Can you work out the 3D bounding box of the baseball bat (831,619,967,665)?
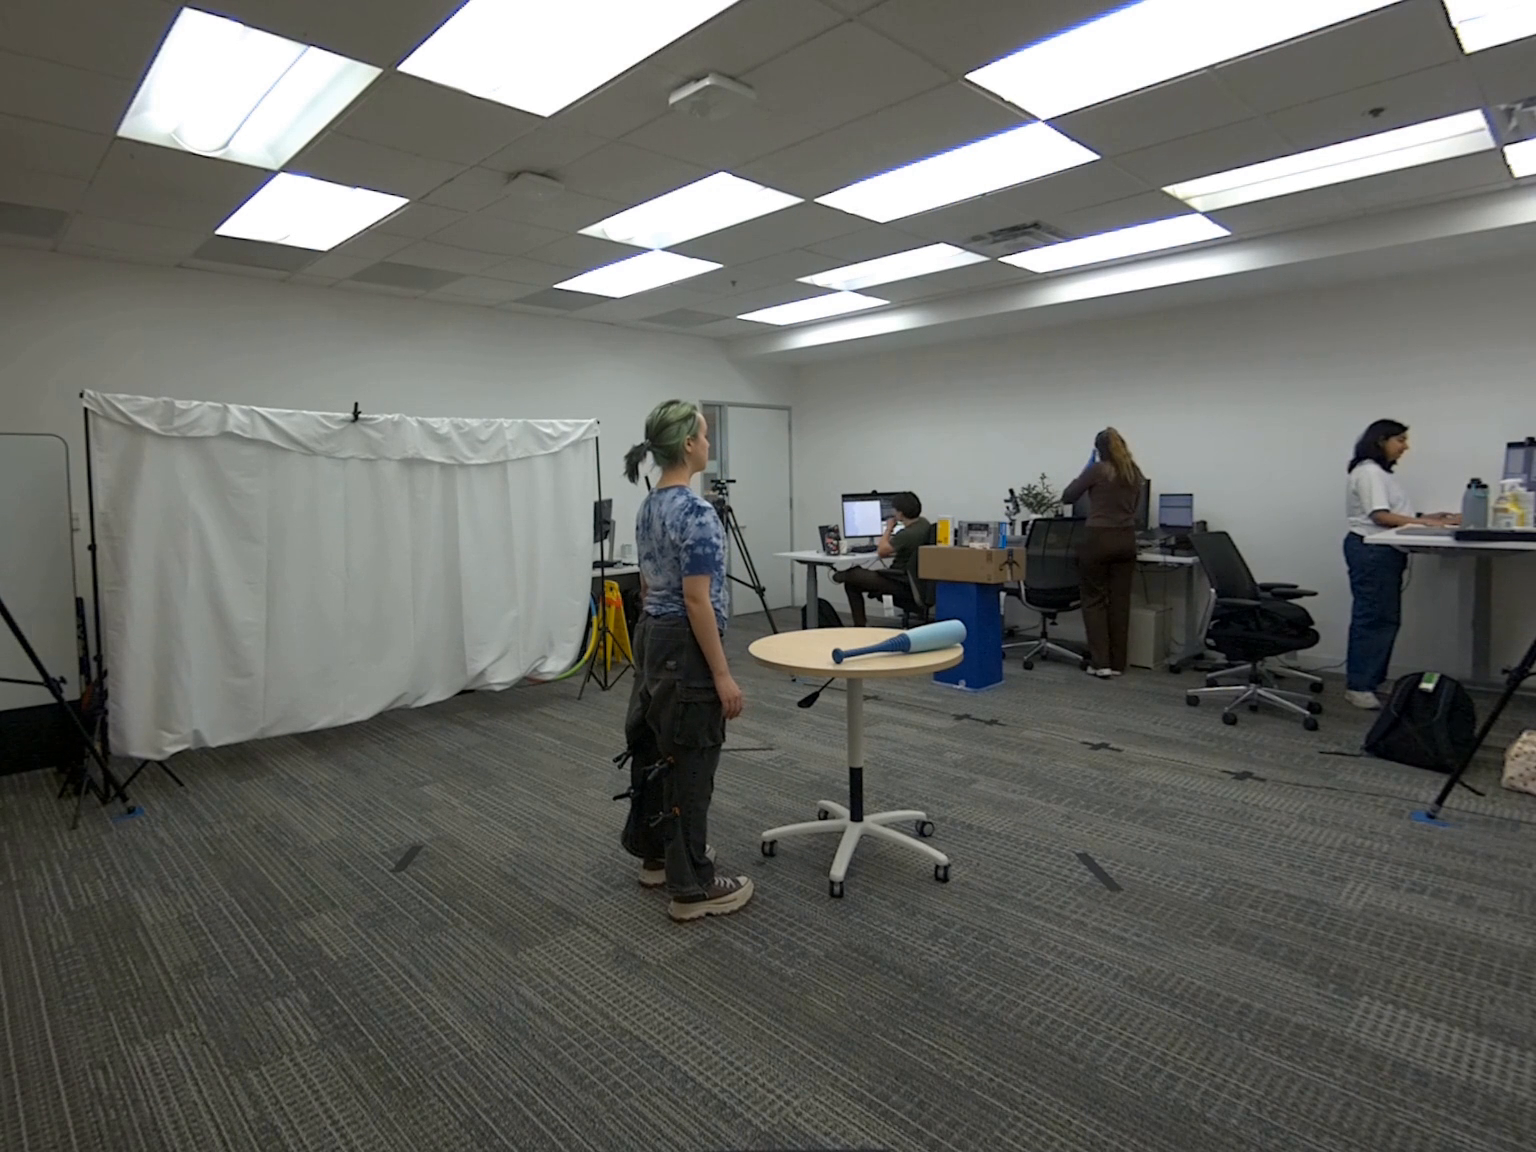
[{"bbox_3d":[0.458,0.238,2.938,0.532,0.088,0.091,-9,8,-26],"label":"baseball bat"}]
